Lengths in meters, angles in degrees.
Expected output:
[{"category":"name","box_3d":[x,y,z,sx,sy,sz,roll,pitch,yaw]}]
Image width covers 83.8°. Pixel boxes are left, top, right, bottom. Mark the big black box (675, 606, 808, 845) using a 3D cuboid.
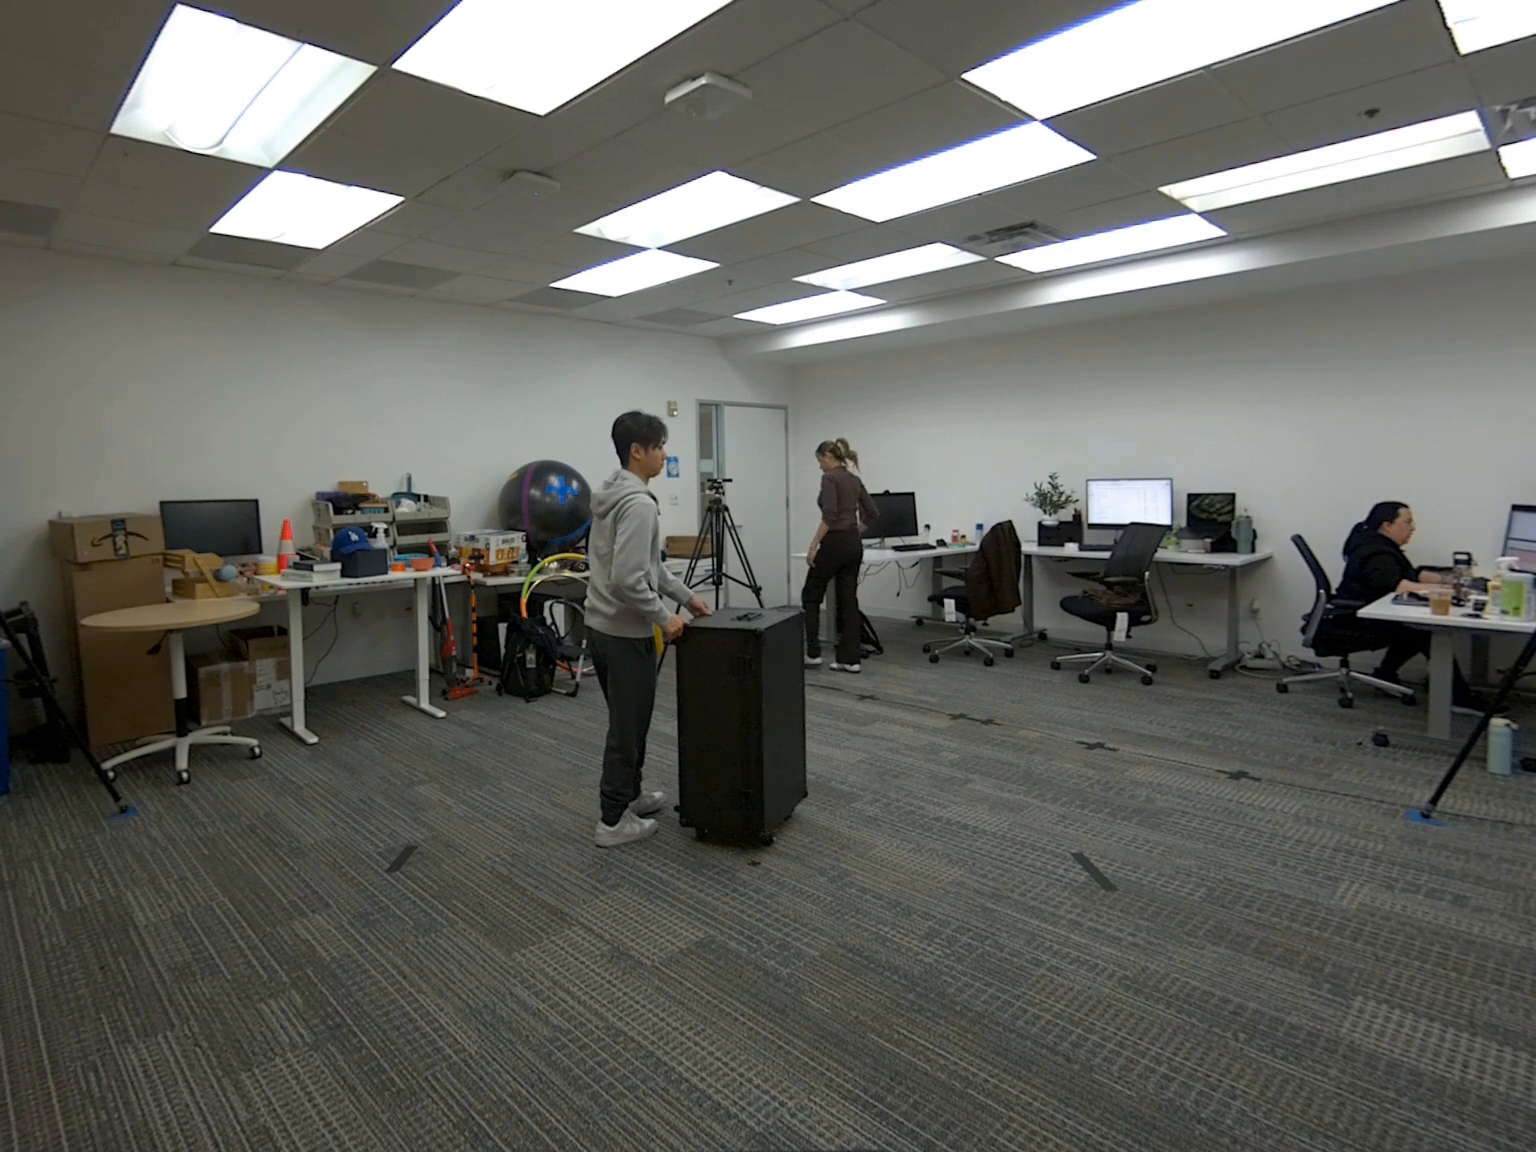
[{"category":"big black box","box_3d":[-0.101,0.585,3.402,0.405,0.858,0.512,0,5,23]}]
